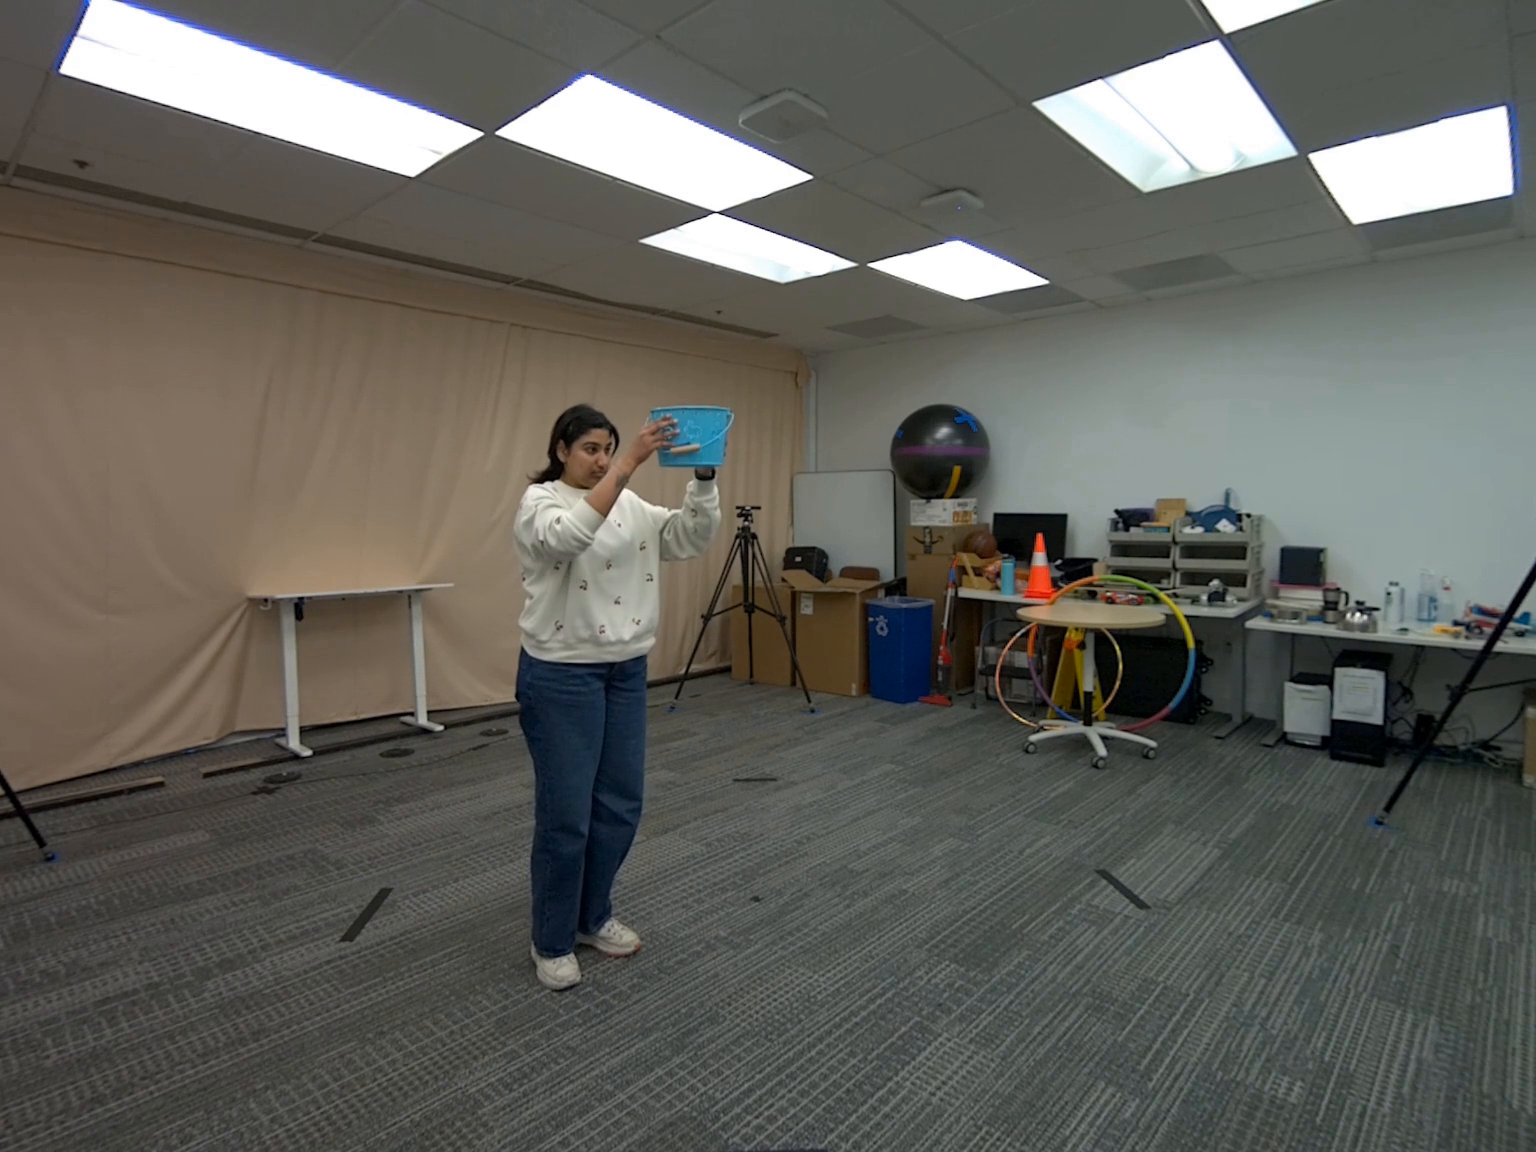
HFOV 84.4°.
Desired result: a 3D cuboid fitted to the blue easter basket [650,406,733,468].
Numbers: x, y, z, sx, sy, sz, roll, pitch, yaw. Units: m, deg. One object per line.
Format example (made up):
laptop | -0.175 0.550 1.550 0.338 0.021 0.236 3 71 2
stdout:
blue easter basket | -0.223 -0.379 2.333 0.243 0.155 0.244 -1 5 -2
